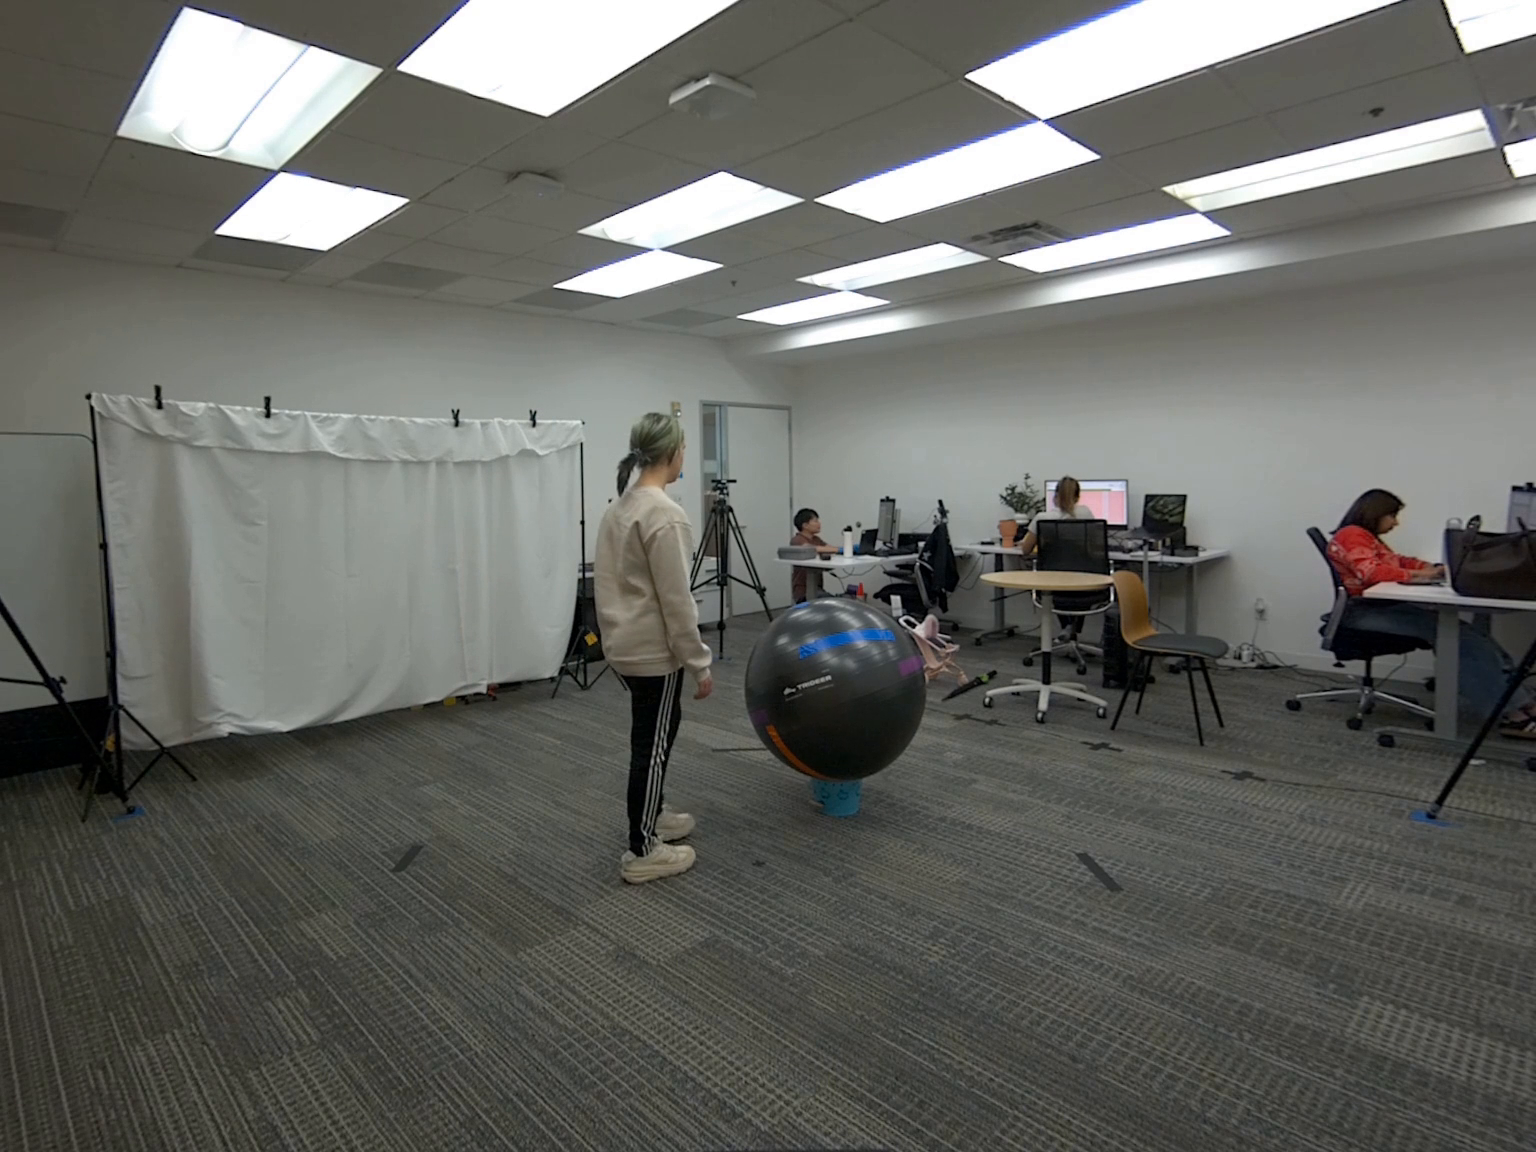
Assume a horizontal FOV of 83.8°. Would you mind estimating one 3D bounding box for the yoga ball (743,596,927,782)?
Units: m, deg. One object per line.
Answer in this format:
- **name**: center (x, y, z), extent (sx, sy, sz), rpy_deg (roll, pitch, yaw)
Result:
- **yoga ball**: center (0.280, 0.473, 3.602), extent (0.757, 0.755, 0.762), rpy_deg (-1, 5, -2)
